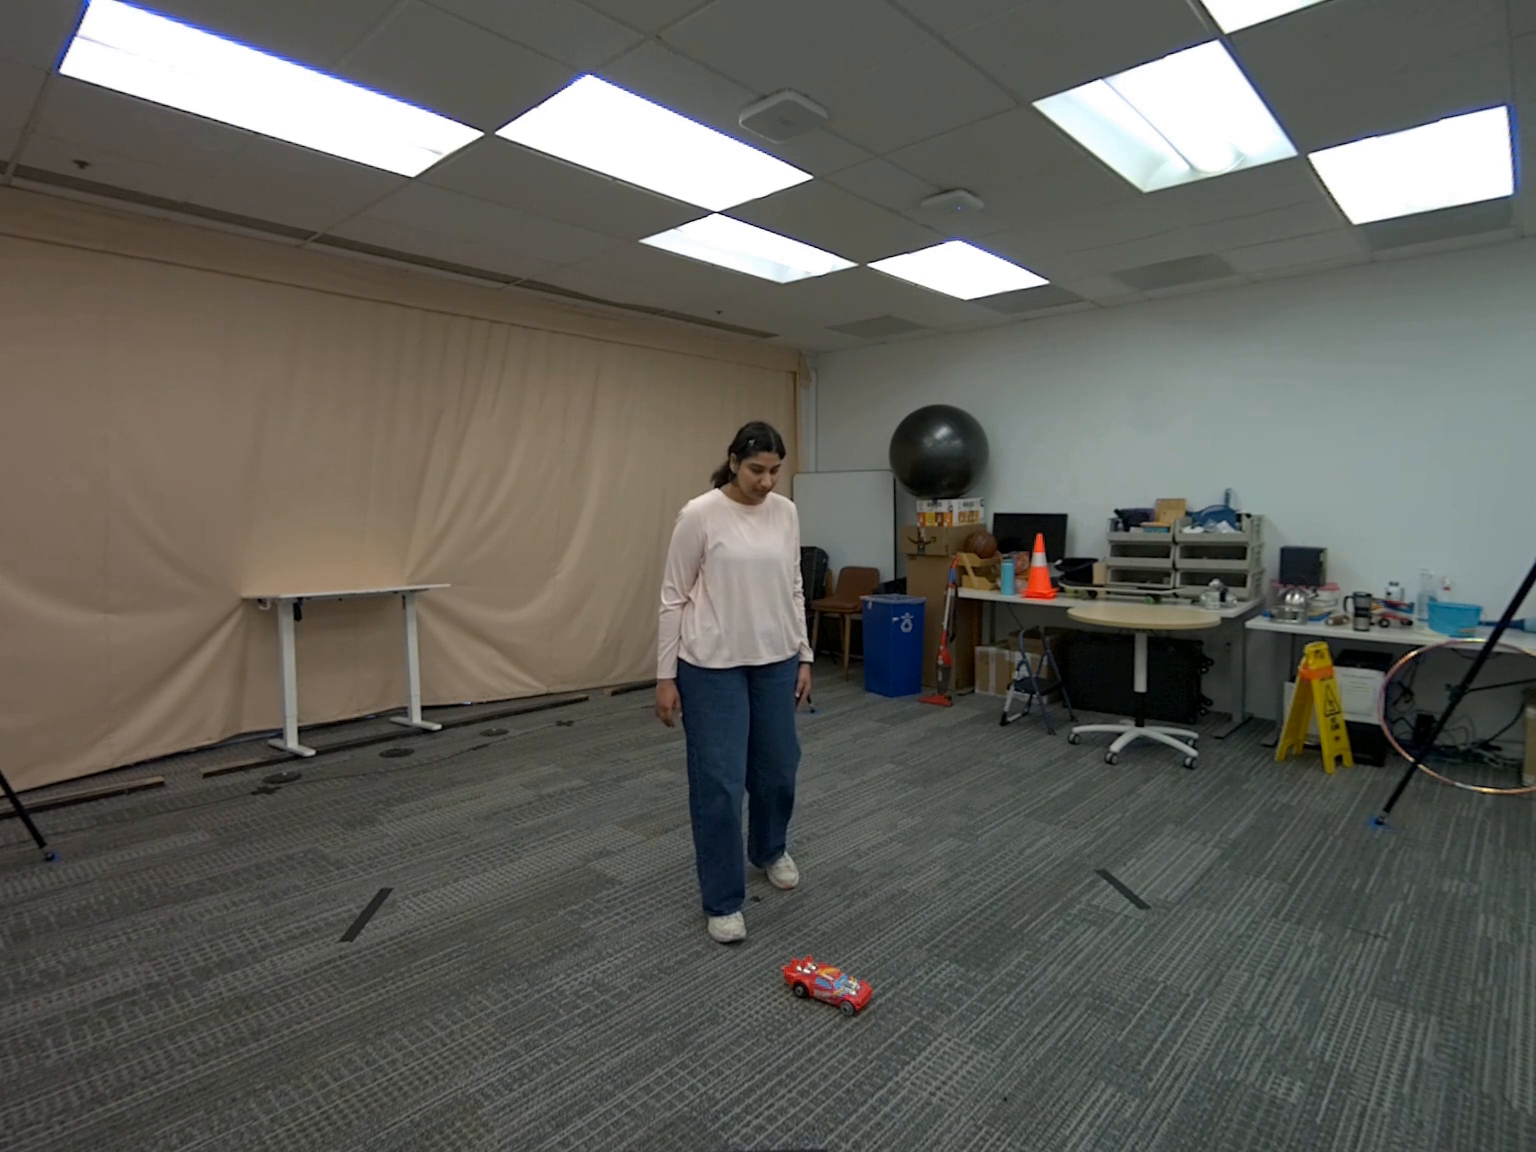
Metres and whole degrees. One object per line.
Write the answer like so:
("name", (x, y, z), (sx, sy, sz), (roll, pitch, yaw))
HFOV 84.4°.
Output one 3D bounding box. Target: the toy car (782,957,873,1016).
("toy car", (0.169, 1.166, 2.386), (0.263, 0.083, 0.127), (15, 12, 31))
